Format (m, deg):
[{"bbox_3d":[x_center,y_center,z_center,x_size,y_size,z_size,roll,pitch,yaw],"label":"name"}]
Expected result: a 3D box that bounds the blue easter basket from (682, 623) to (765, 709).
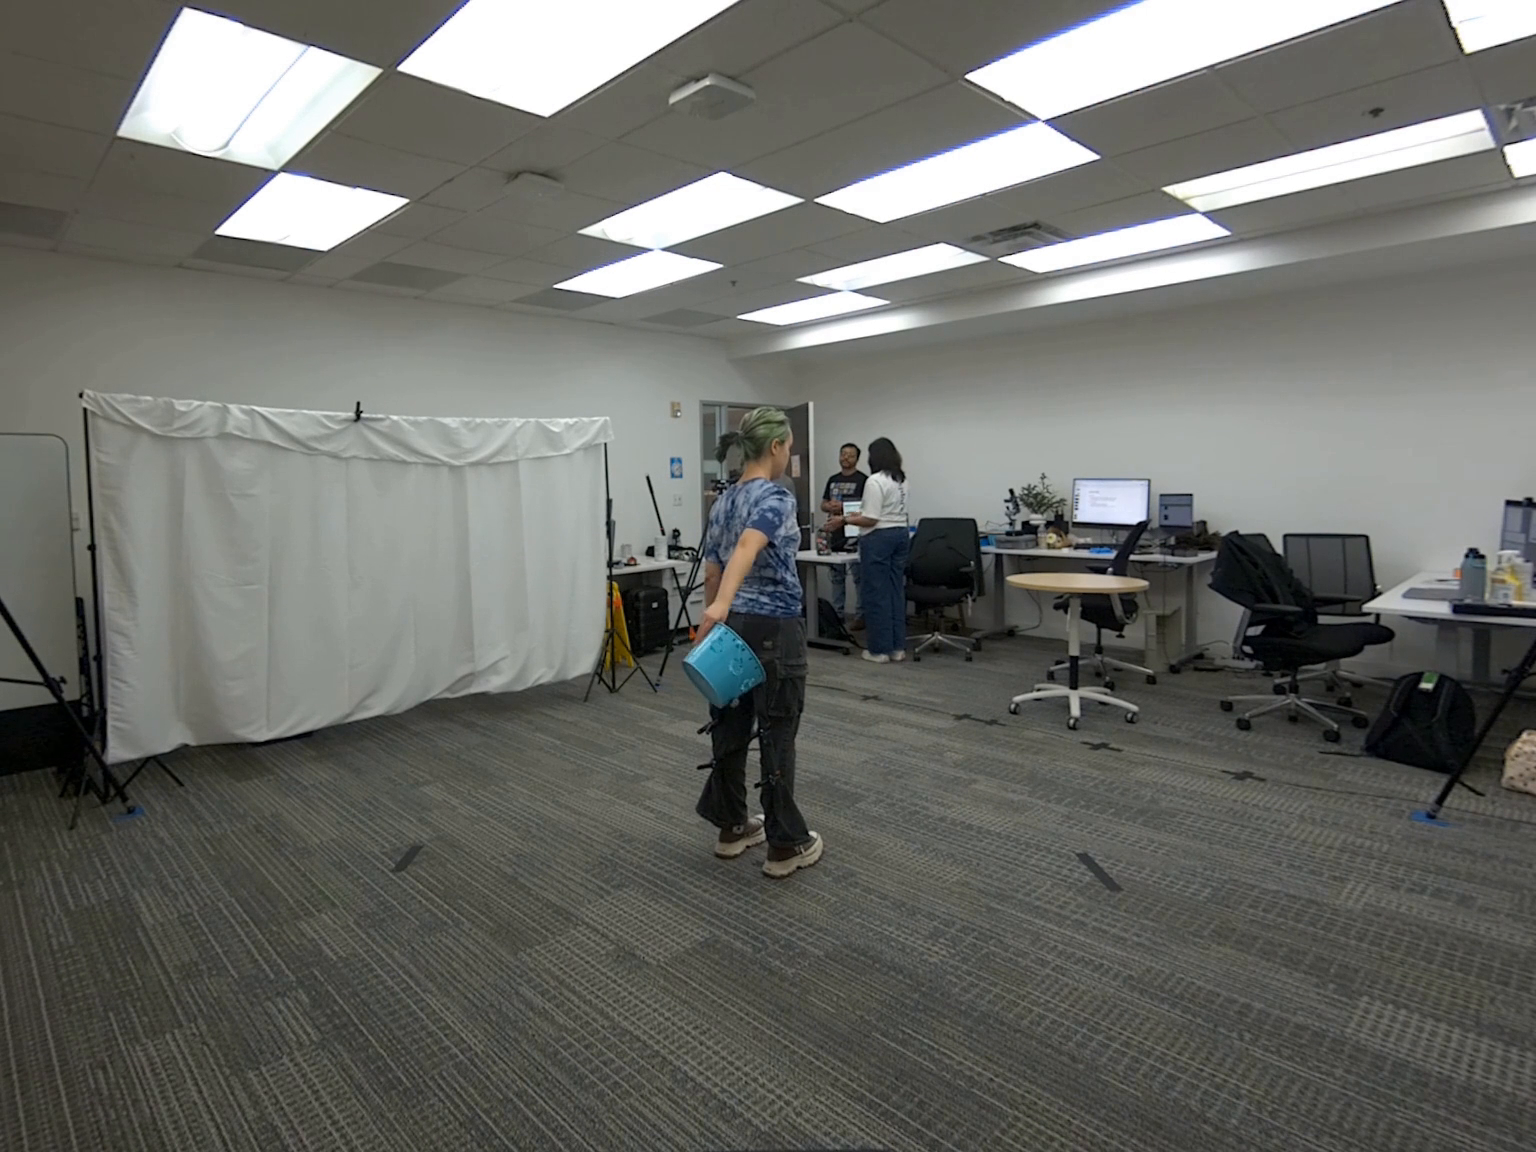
[{"bbox_3d":[-0.129,0.282,2.556,0.155,0.238,0.250,-39,21,-21],"label":"blue easter basket"}]
